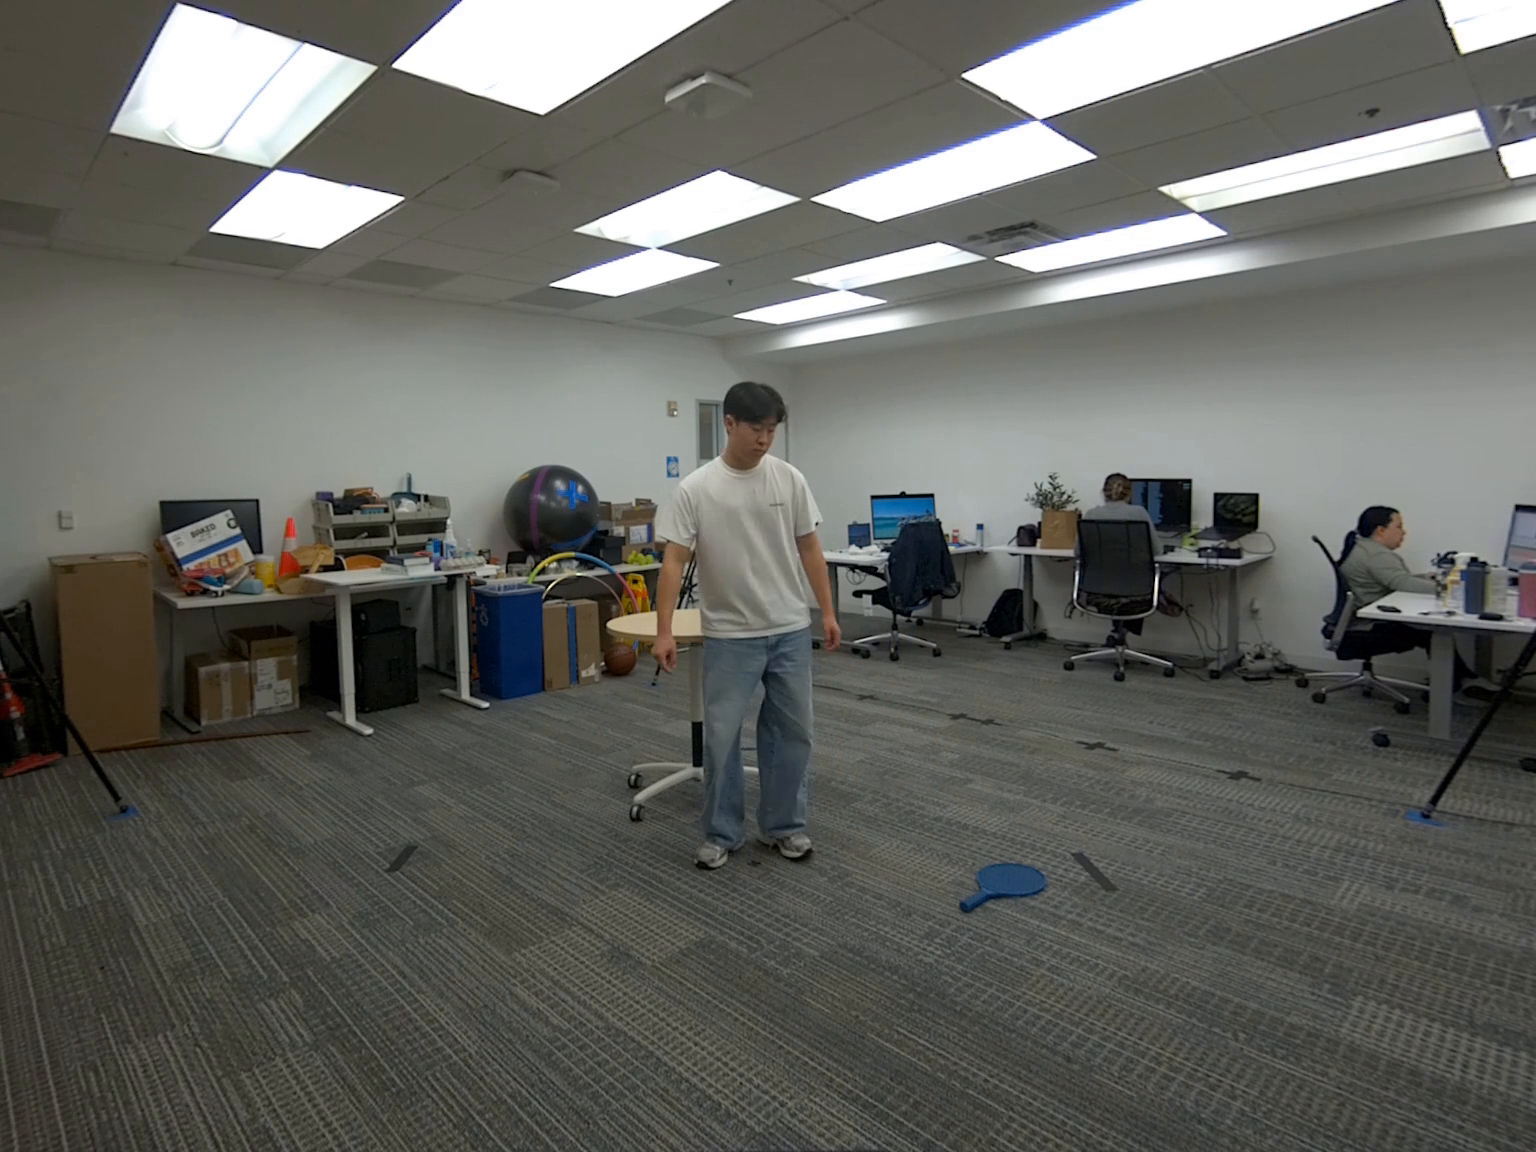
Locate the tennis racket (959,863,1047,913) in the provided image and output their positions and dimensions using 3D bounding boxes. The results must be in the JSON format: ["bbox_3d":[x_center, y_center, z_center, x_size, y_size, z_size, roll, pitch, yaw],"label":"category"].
[{"bbox_3d":[0.777,1.043,2.877,0.421,0.031,0.220,-6,7,-43],"label":"tennis racket"}]
